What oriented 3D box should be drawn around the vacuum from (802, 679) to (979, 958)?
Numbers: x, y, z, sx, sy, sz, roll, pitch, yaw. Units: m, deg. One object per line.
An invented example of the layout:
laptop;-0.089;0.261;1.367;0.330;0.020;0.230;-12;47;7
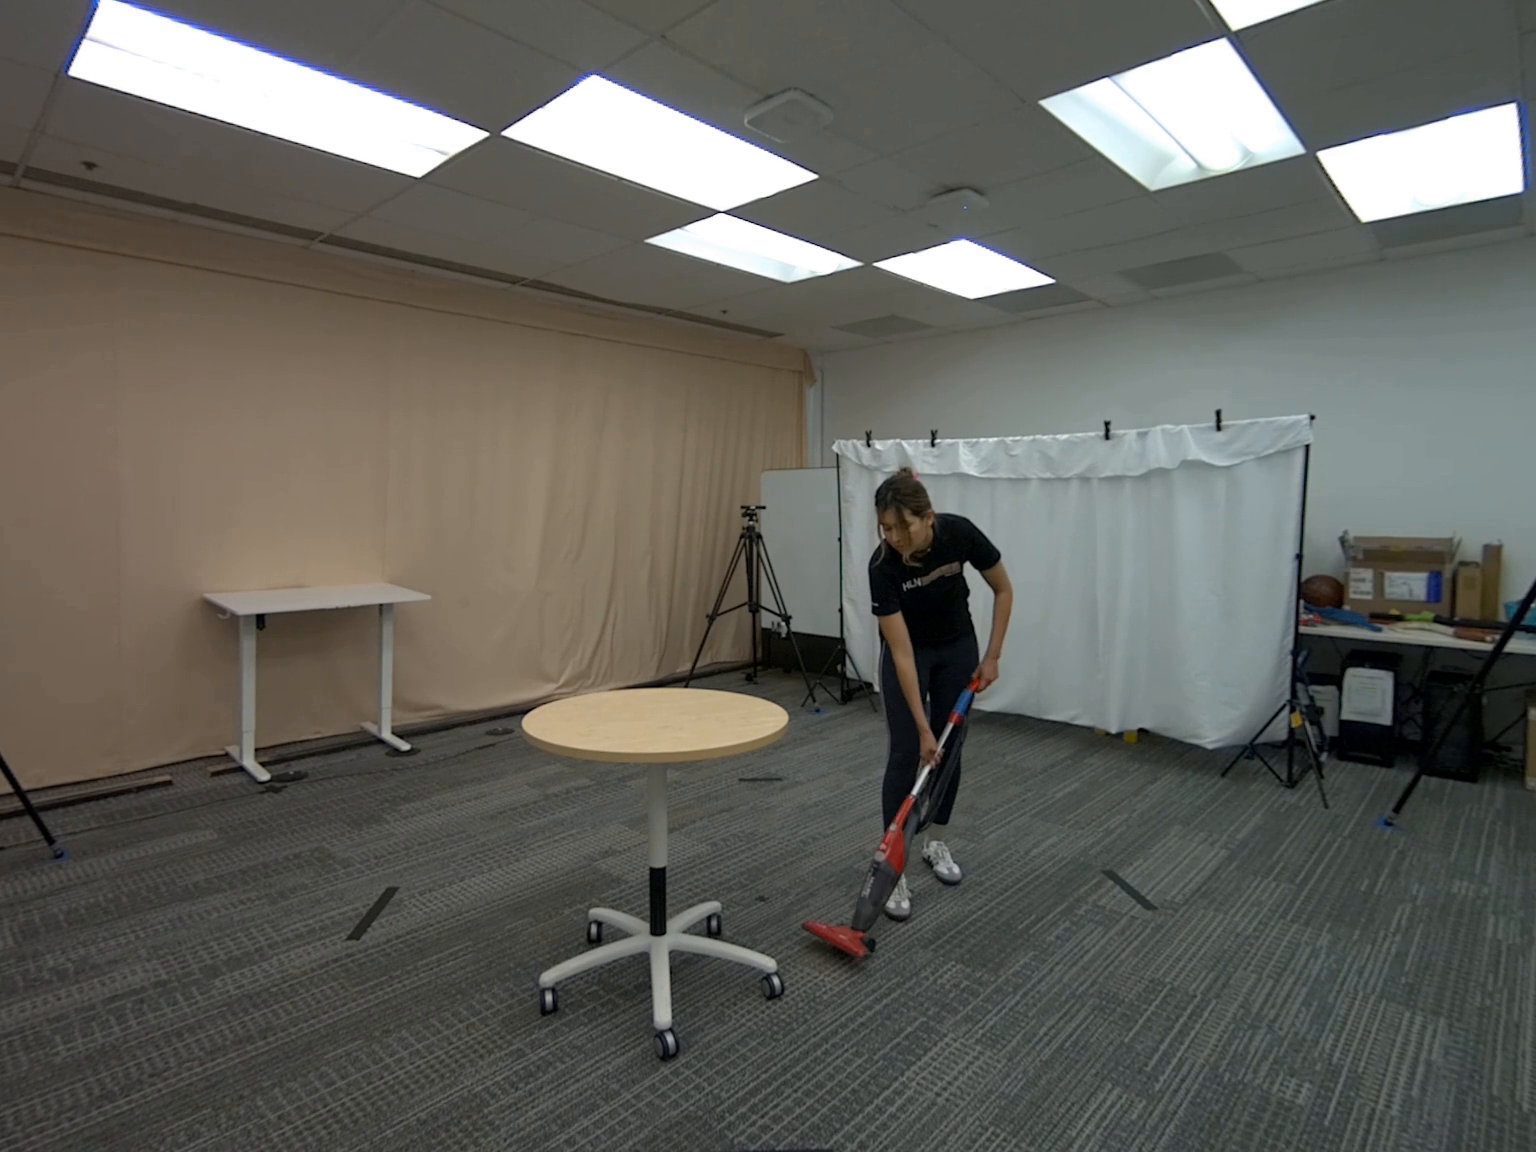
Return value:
vacuum;0.506;0.769;2.824;0.261;1.045;0.139;10;-36;46
